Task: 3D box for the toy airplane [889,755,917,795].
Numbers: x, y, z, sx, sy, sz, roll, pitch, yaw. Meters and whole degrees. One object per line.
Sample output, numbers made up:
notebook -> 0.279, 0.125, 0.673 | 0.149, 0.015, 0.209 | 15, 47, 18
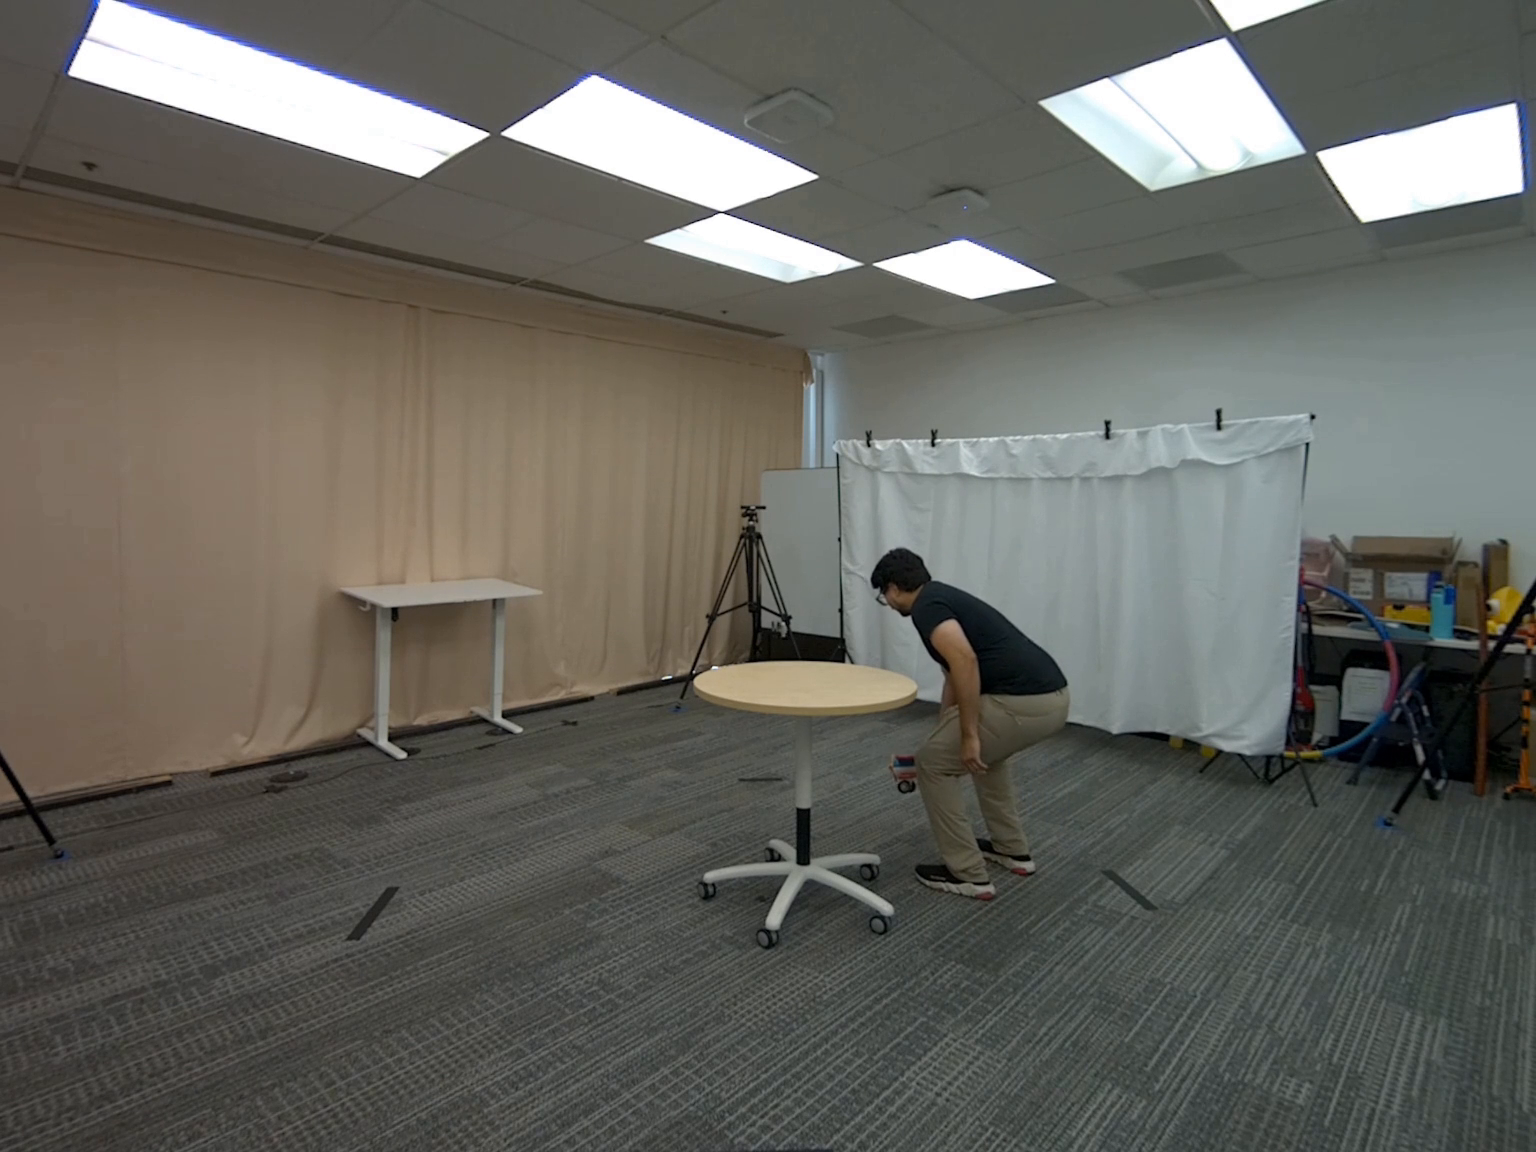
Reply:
toy airplane -> 0.657, 0.819, 3.561 | 0.257, 0.159, 0.248 | -14, -18, -8
